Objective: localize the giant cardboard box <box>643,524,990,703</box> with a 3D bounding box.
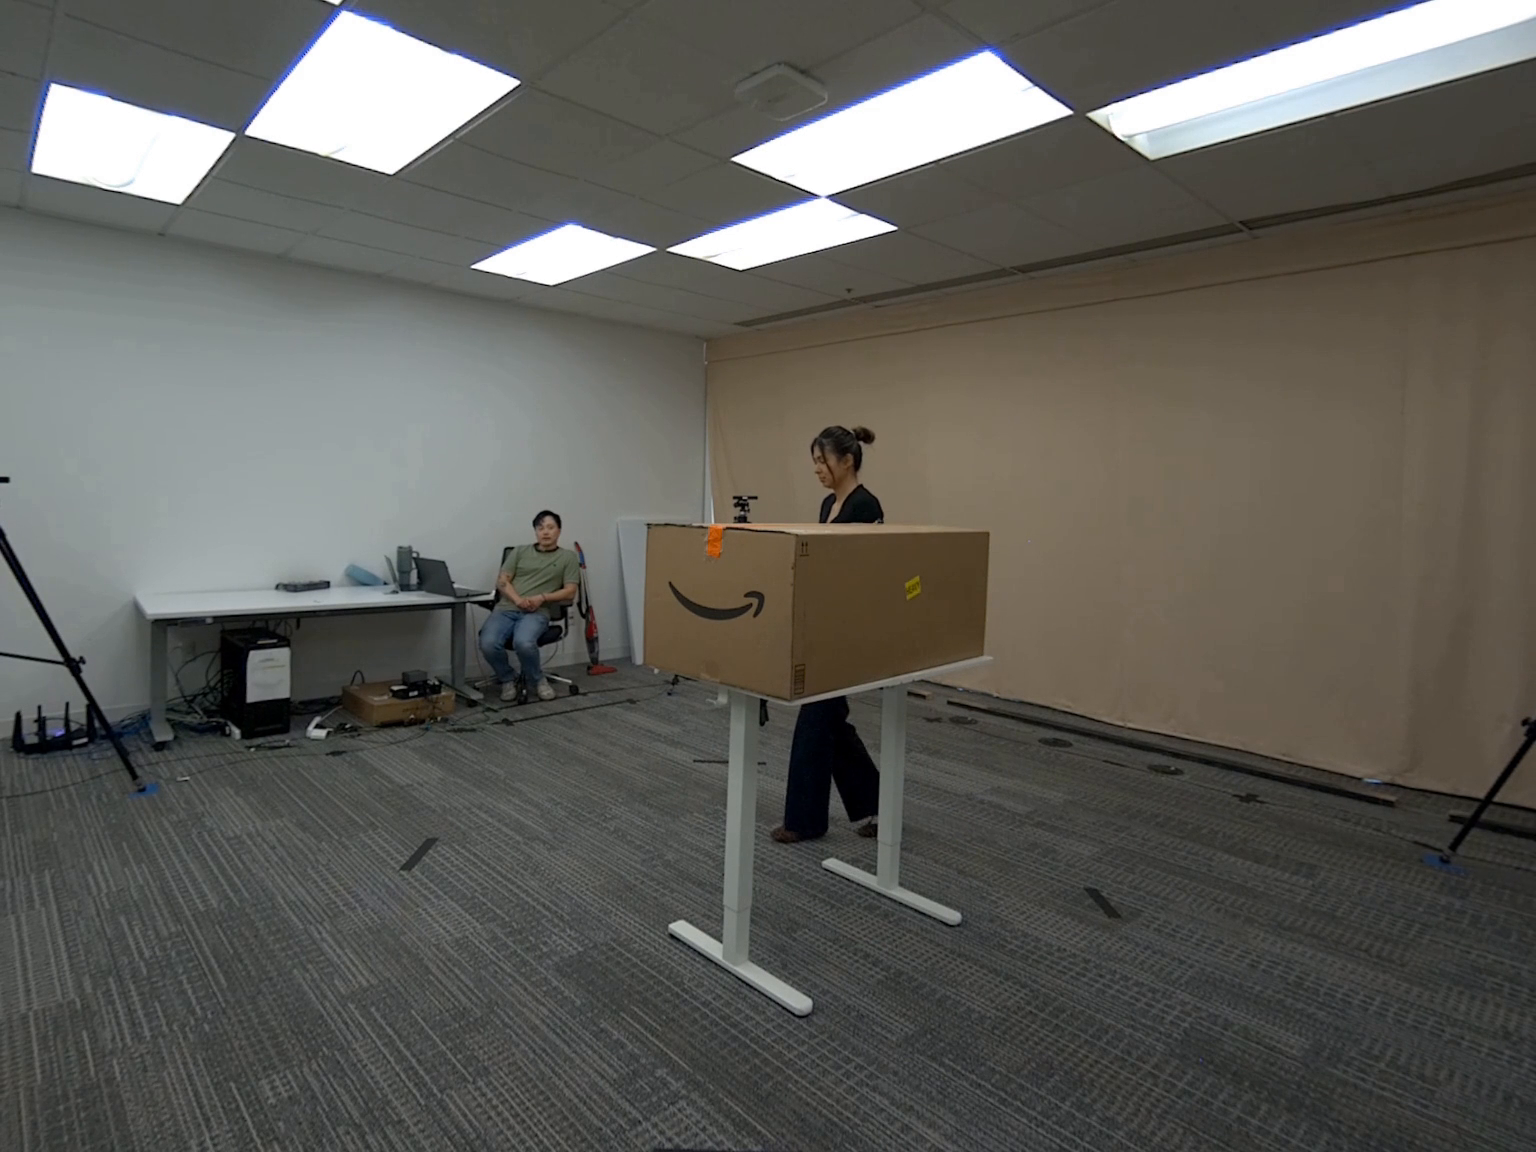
[{"bbox_3d":[0.180,0.059,2.656,0.592,0.425,1.002,7,7,44],"label":"giant cardboard box"}]
